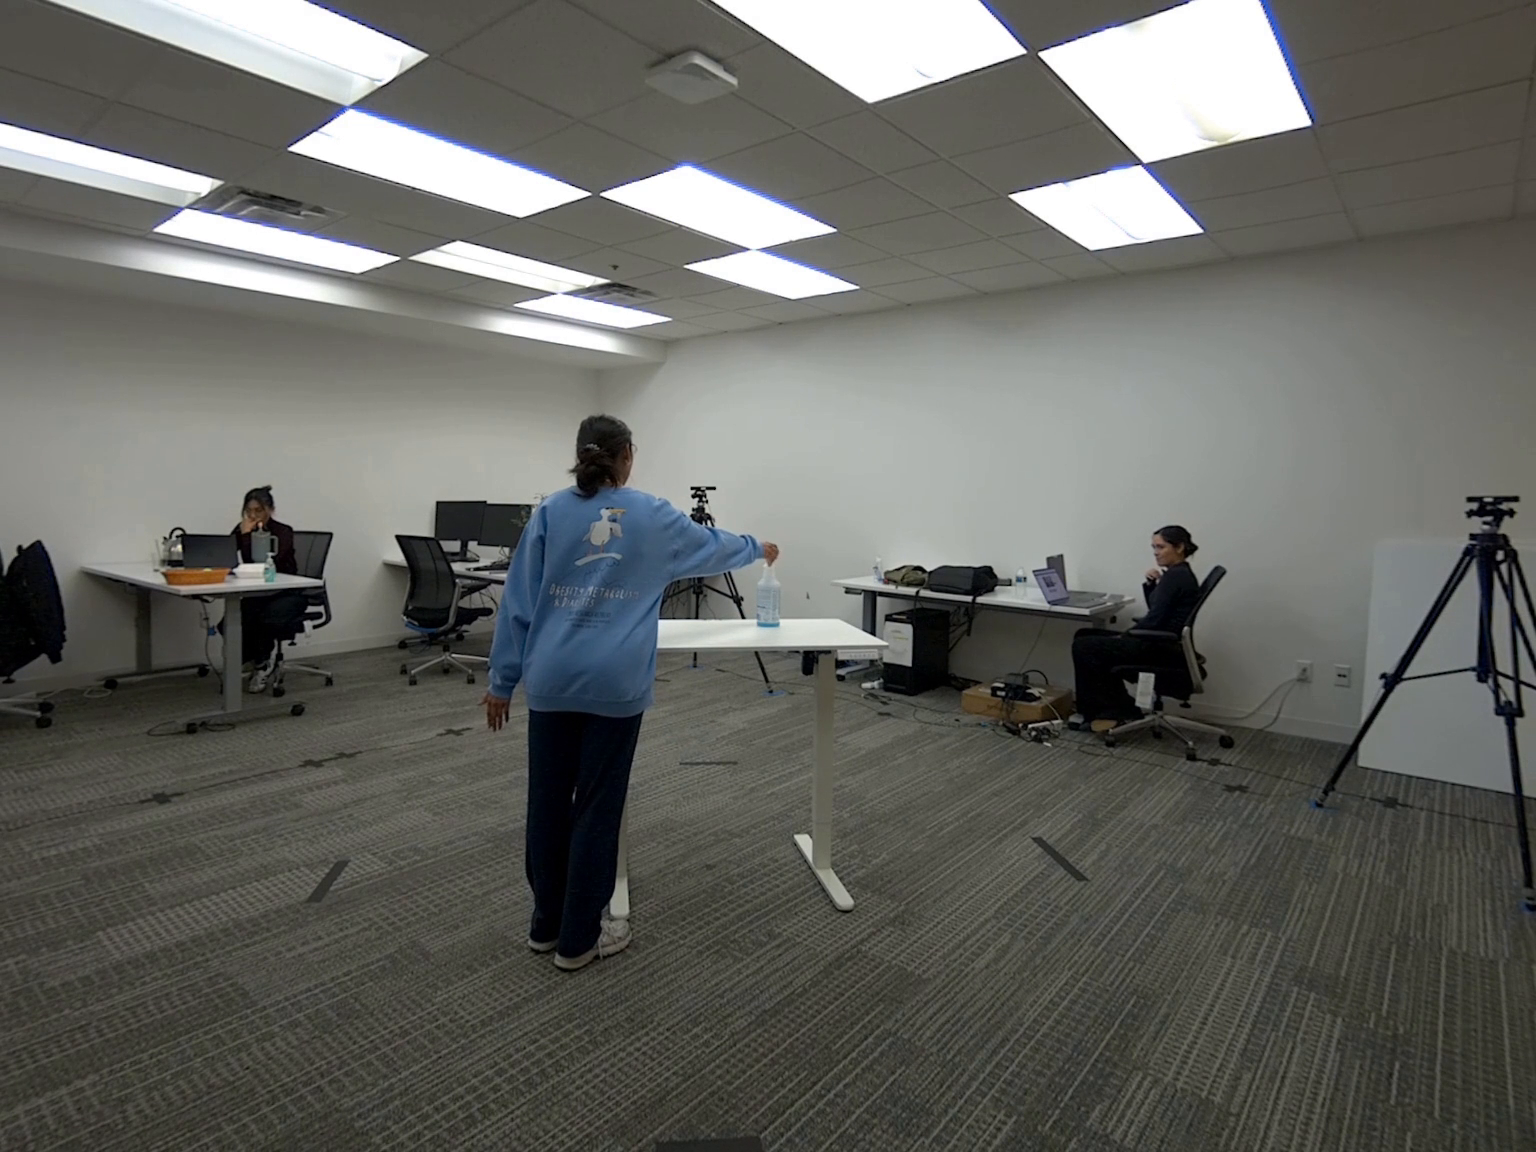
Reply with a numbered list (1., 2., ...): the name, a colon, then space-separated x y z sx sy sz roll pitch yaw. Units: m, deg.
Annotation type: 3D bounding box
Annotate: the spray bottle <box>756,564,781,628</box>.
1. spray bottle: -0.004 0.037 3.164 0.090 0.297 0.087 5 3 40
